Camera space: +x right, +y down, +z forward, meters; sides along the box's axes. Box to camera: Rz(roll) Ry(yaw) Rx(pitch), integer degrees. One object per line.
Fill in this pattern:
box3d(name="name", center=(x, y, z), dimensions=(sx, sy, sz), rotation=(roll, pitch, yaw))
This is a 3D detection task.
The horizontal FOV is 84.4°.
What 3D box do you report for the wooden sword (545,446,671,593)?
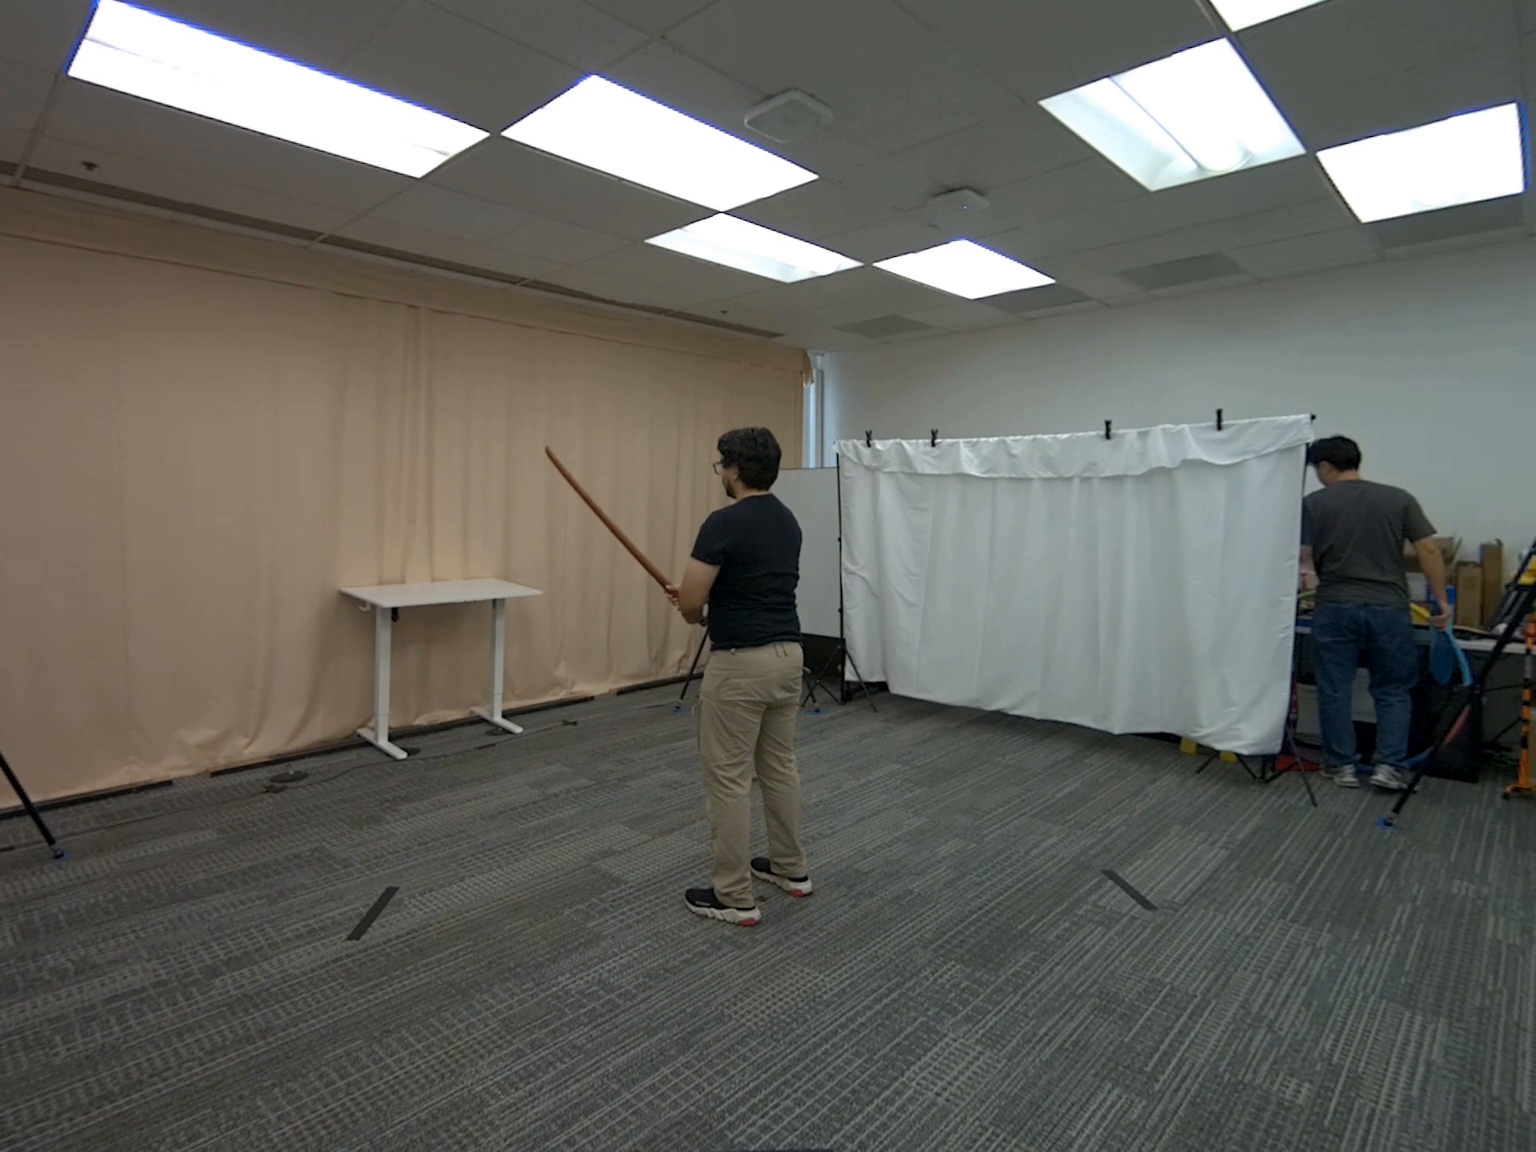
box3d(name="wooden sword", center=(-0.580, -0.170, 3.292), dimensions=(1.049, 0.051, 0.023), rotation=(47, 10, 20))
